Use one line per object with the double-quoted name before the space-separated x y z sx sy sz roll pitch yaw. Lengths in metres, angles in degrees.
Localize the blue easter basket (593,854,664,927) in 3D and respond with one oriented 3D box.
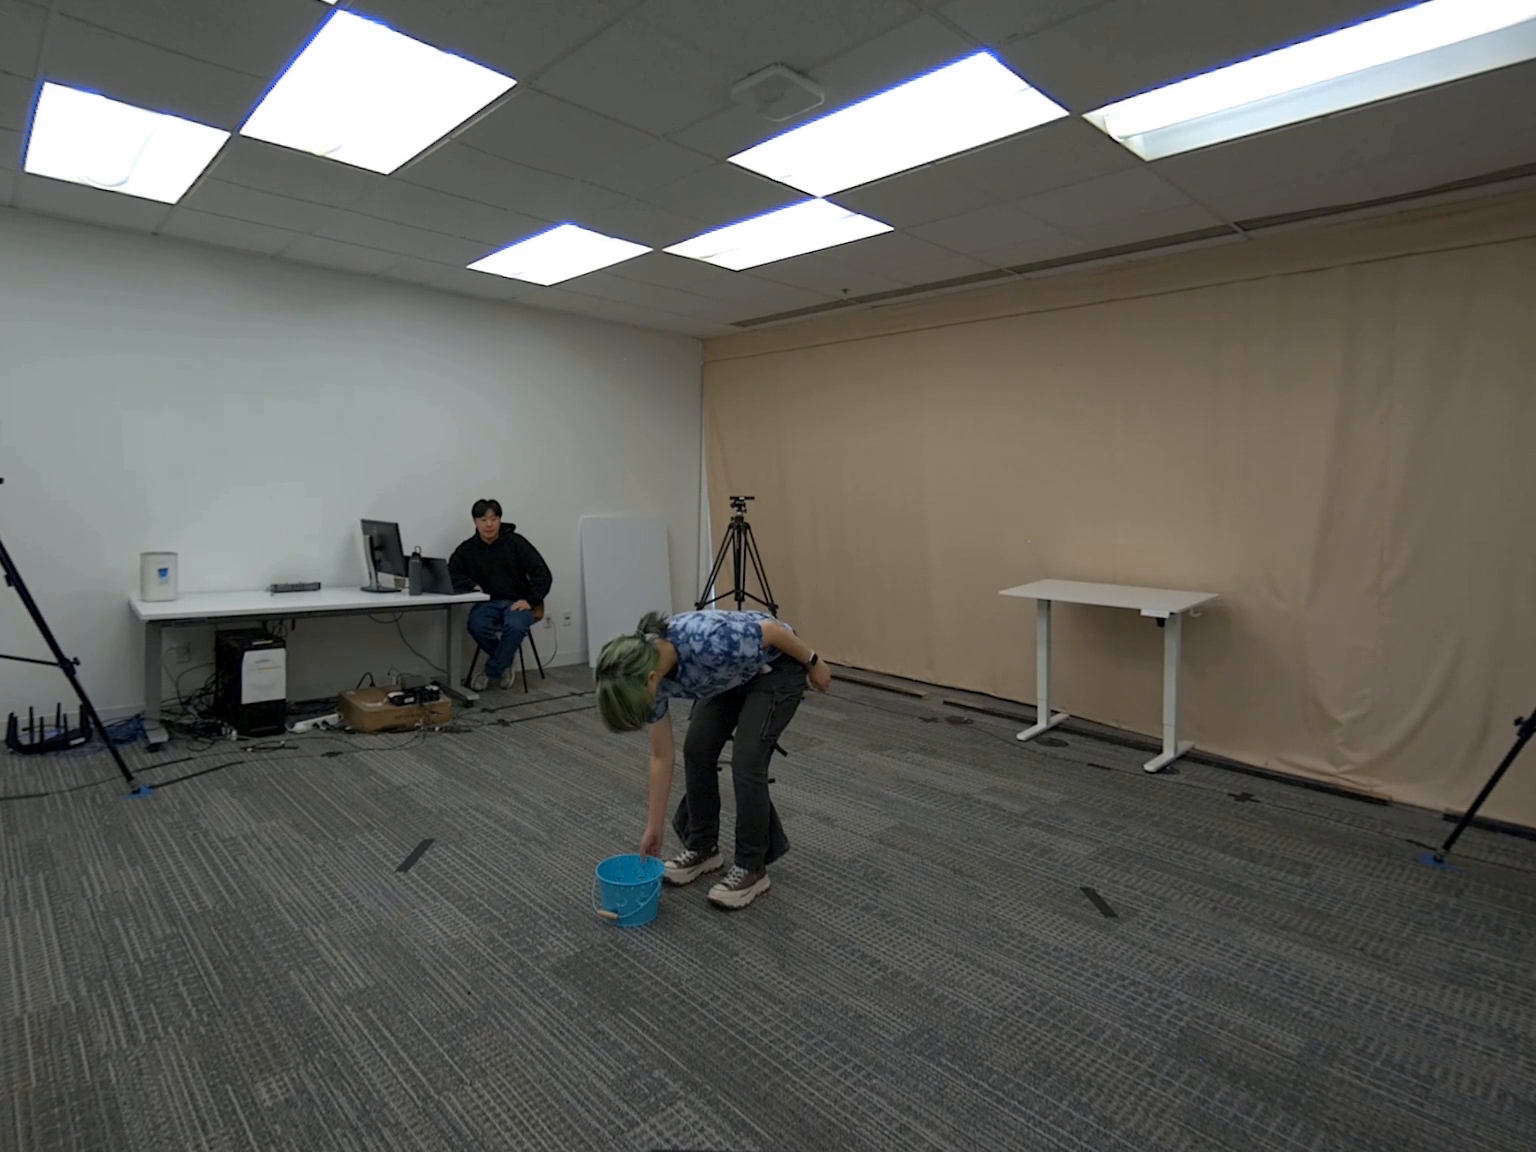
"blue easter basket" -0.470 1.049 2.798 0.243 0.155 0.244 2 5 -2
